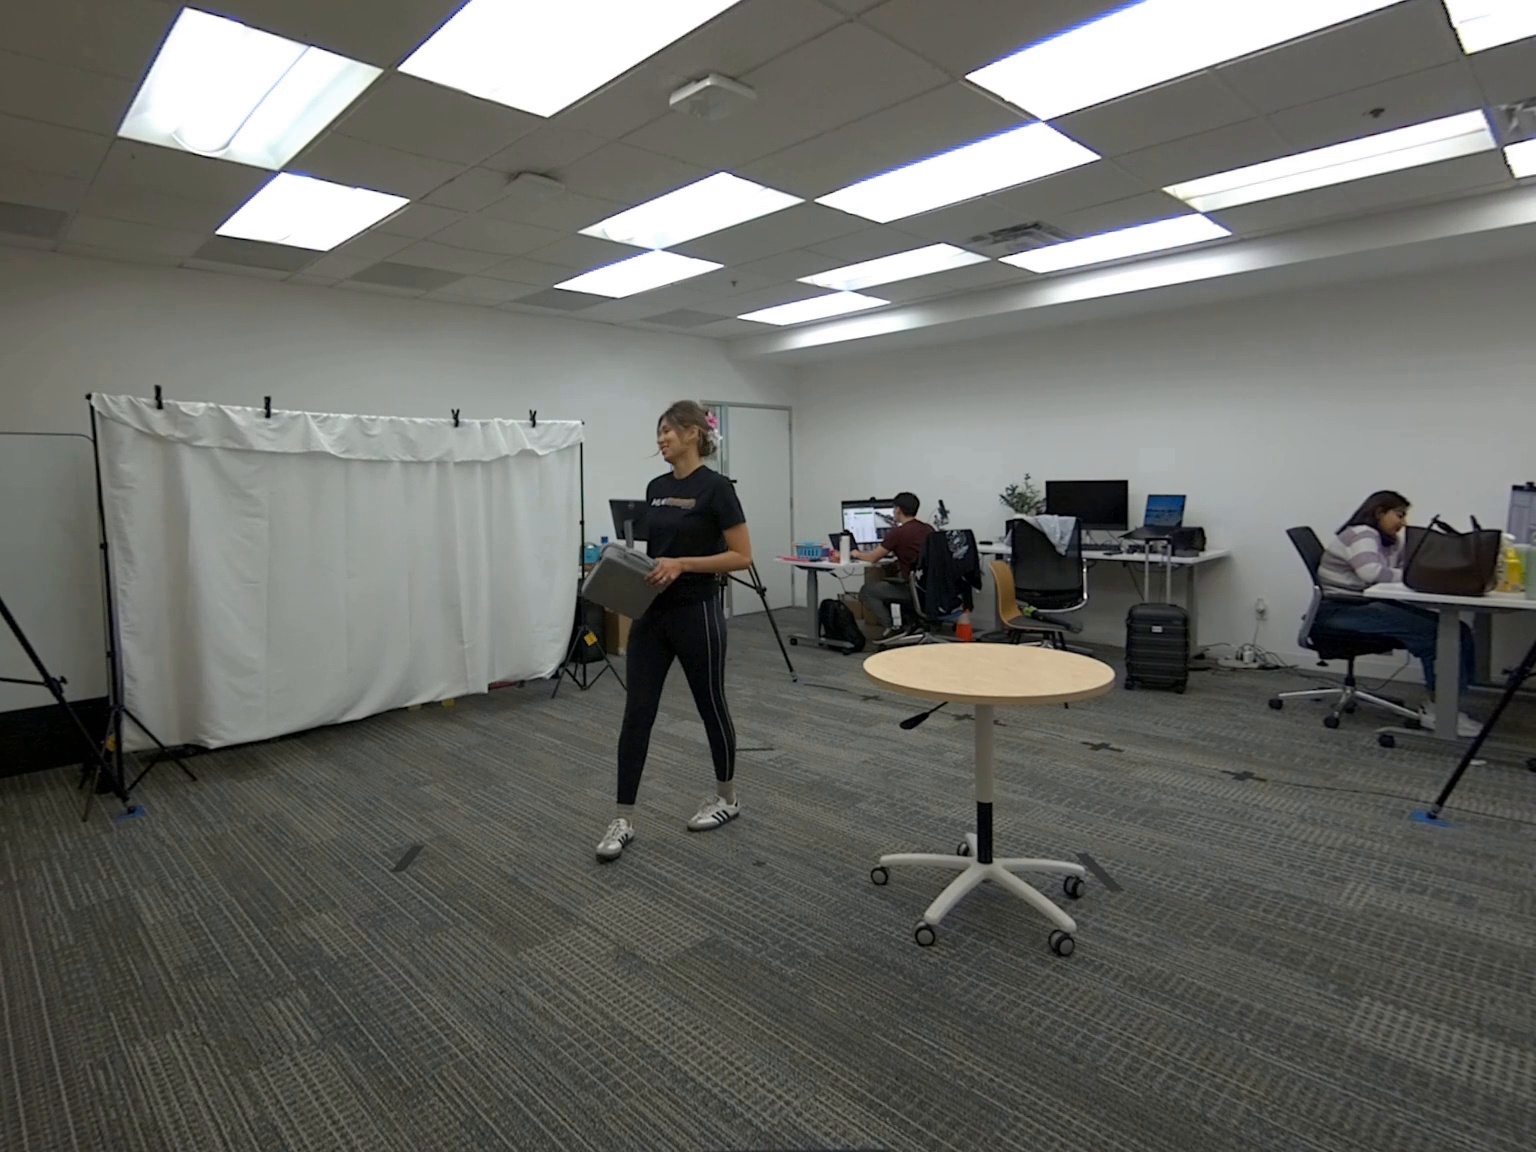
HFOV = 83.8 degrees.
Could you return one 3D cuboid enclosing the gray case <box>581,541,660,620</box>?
[{"bbox_3d":[-0.531,0.014,3.178,0.252,0.259,0.107,26,39,-15],"label":"gray case"}]
